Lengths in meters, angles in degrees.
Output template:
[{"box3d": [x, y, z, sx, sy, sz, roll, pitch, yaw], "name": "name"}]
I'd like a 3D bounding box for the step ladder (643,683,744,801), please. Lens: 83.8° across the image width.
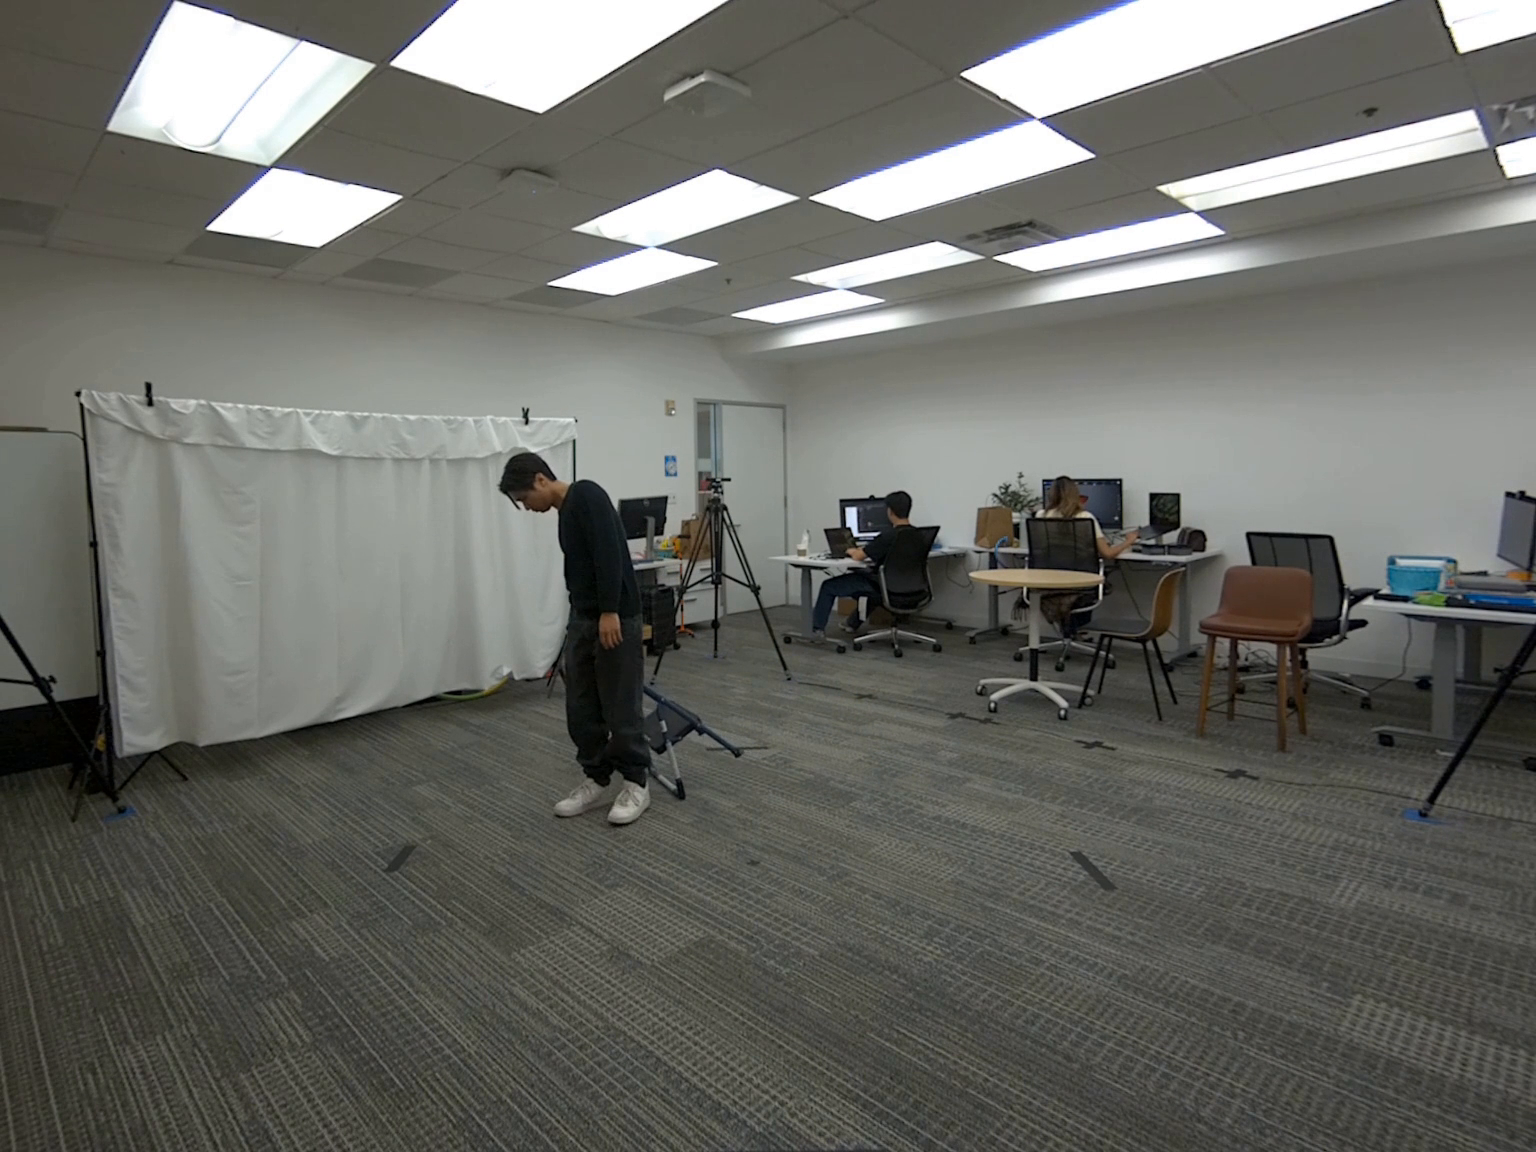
[{"box3d": [-0.474, 0.625, 3.903, 0.347, 0.595, 0.441, -35, 17, -21], "name": "step ladder"}]
